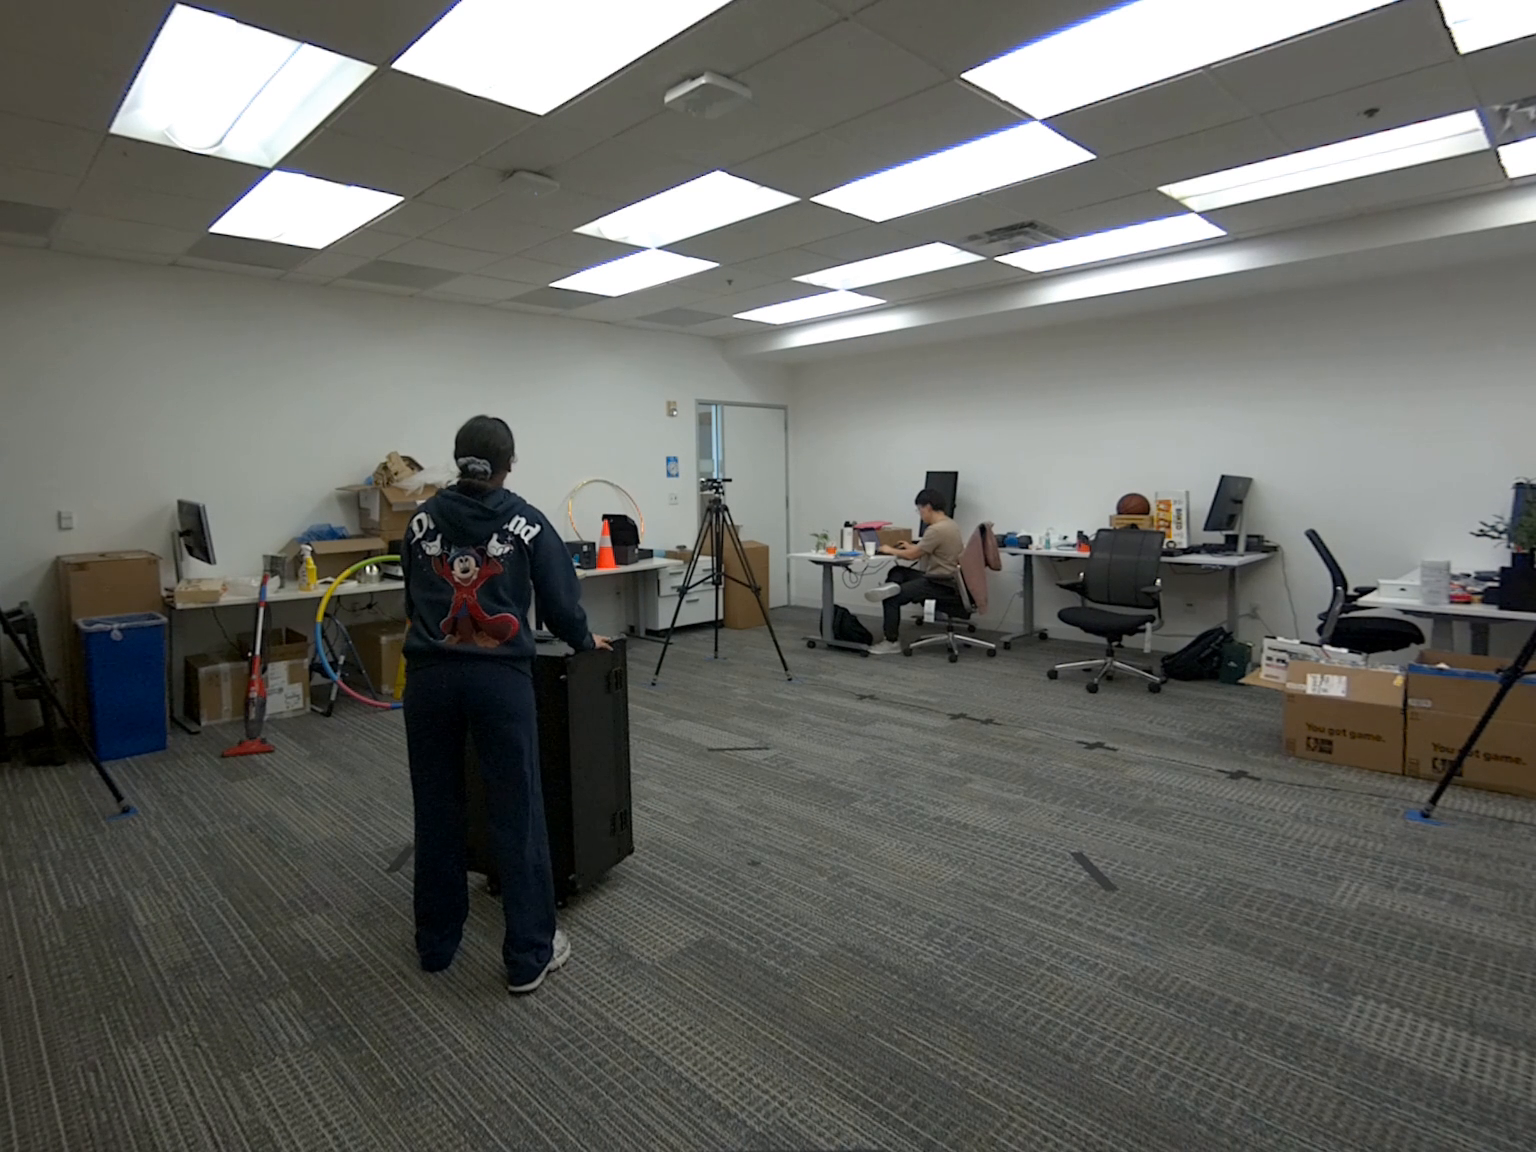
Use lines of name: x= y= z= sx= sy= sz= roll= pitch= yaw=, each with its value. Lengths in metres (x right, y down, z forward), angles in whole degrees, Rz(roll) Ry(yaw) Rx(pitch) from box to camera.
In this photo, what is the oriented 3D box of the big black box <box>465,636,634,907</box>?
big black box: x=-0.772 y=0.647 z=2.971 sx=0.533 sy=0.858 sz=0.389 roll=1 pitch=5 yaw=25
